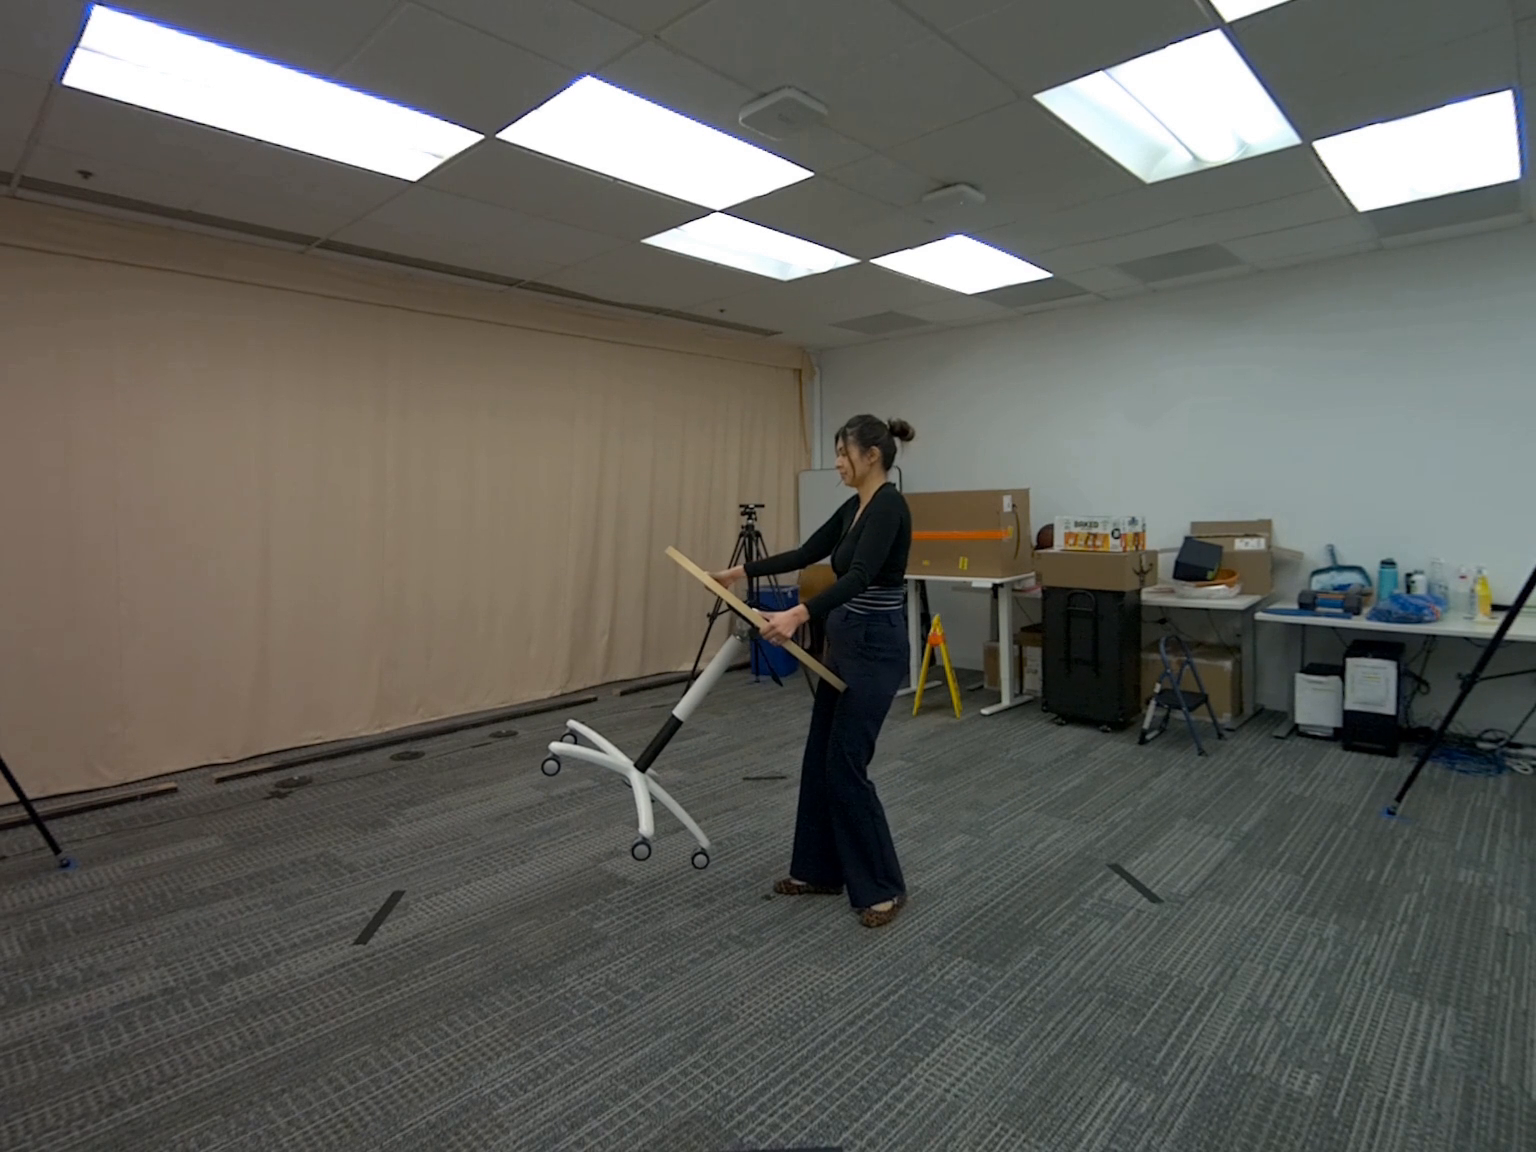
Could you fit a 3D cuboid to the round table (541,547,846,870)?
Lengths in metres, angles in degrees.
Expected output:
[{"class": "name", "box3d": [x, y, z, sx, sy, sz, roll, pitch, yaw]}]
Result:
[{"class": "round table", "box3d": [-0.278, 0.455, 2.857, 0.765, 0.793, 0.763, 37, -3, 0]}]
